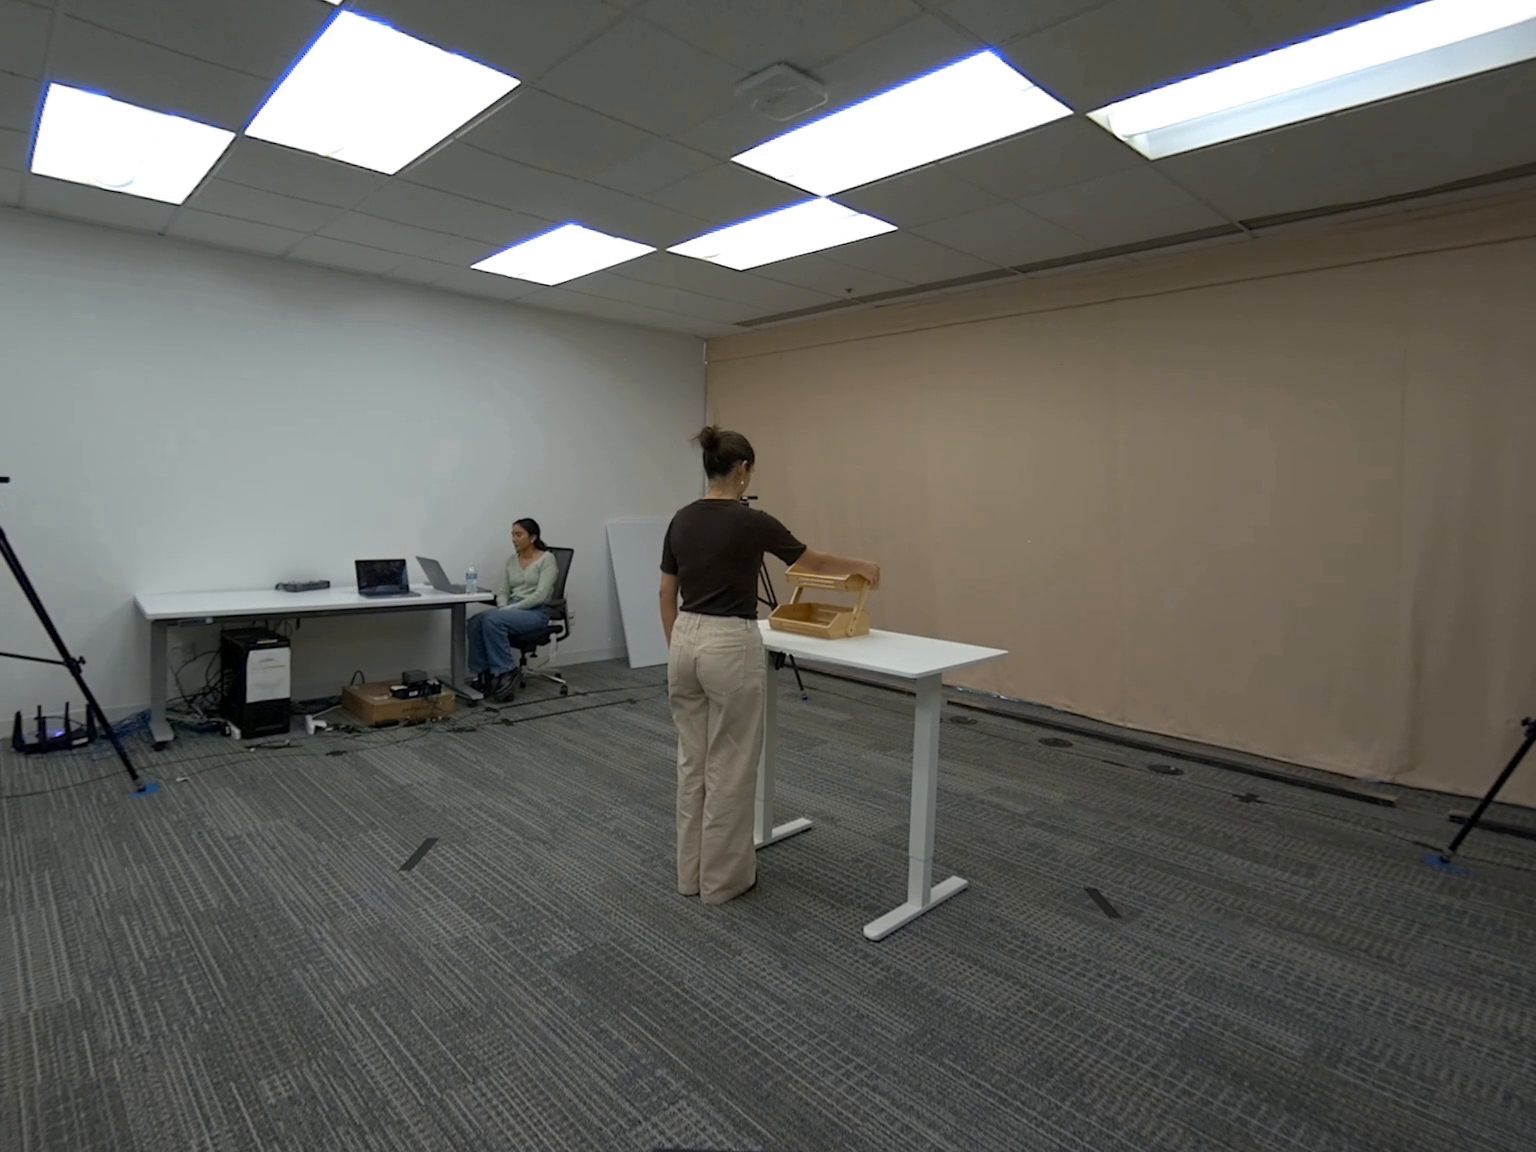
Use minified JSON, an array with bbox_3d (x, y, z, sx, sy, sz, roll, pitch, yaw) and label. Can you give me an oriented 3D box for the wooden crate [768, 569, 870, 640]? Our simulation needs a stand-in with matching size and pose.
[{"bbox_3d":[0.209,0.083,3.247,0.333,0.273,0.295,7,5,44],"label":"wooden crate"}]
